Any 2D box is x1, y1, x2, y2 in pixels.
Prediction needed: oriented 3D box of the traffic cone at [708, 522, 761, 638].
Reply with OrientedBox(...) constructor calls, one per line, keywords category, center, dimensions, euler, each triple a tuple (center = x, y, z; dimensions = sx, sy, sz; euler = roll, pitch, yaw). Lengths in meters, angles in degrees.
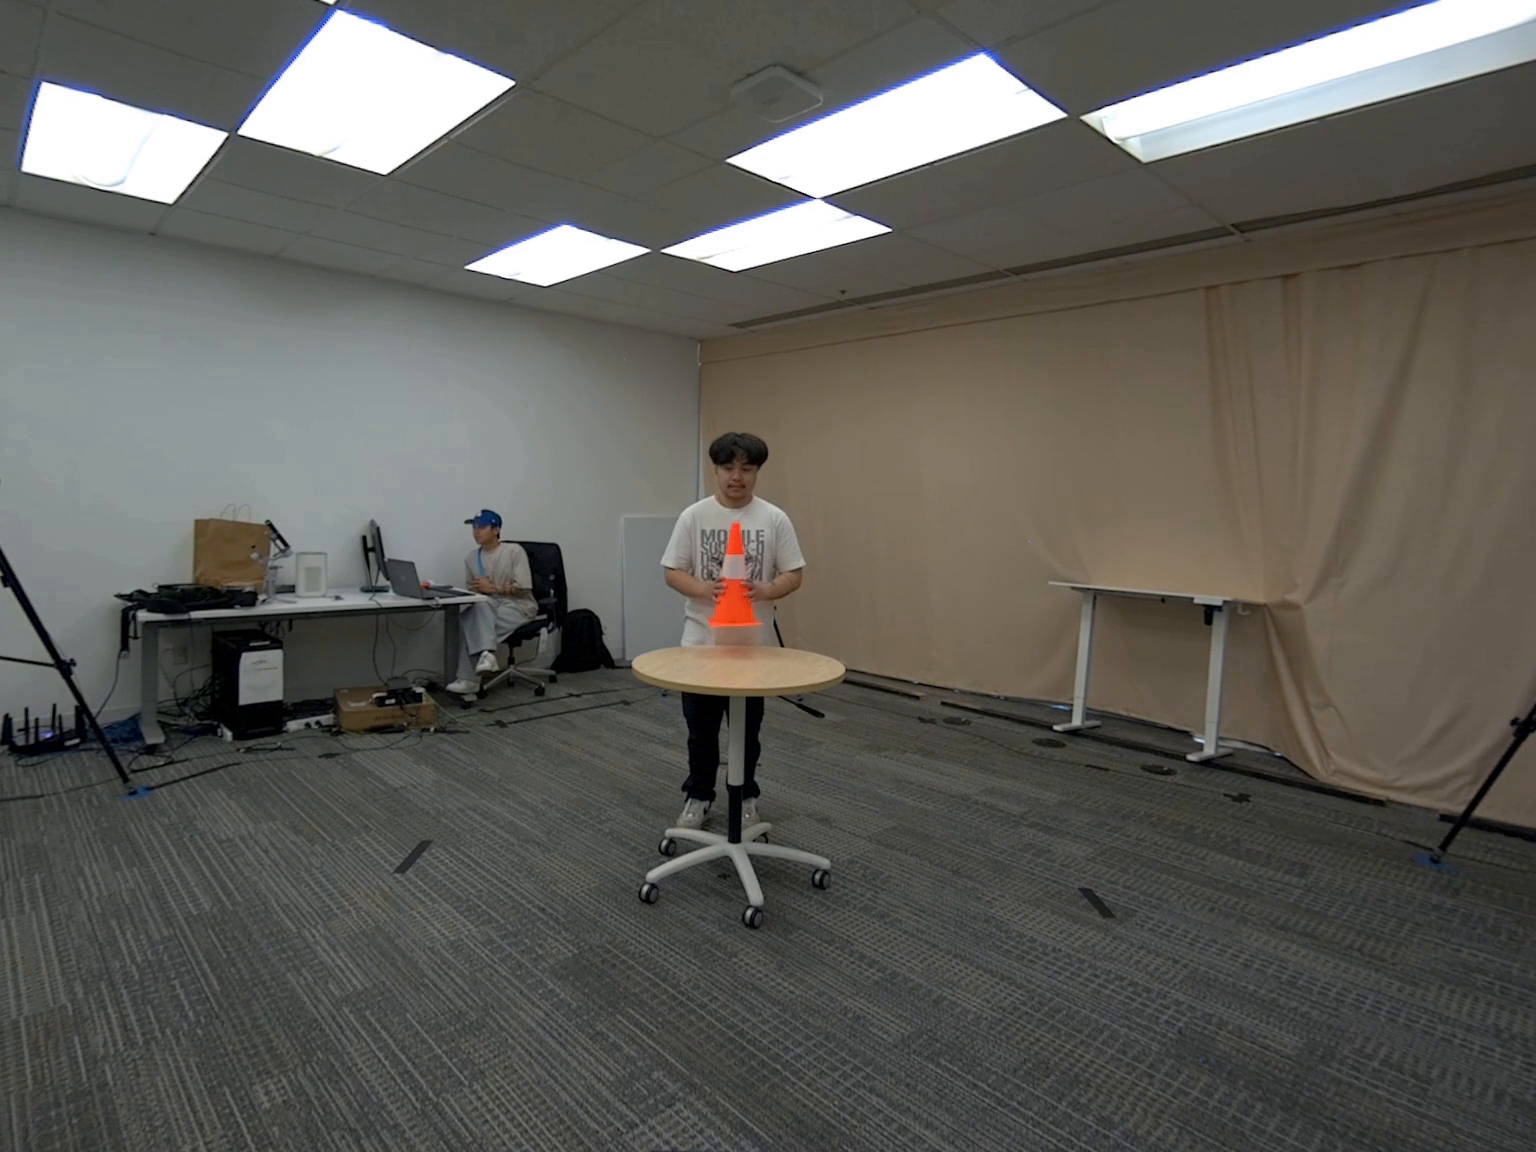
OrientedBox(category="traffic cone", center=(-0.139, -0.013, 3.208), dimensions=(0.210, 0.382, 0.199), euler=(6, 6, 43))
